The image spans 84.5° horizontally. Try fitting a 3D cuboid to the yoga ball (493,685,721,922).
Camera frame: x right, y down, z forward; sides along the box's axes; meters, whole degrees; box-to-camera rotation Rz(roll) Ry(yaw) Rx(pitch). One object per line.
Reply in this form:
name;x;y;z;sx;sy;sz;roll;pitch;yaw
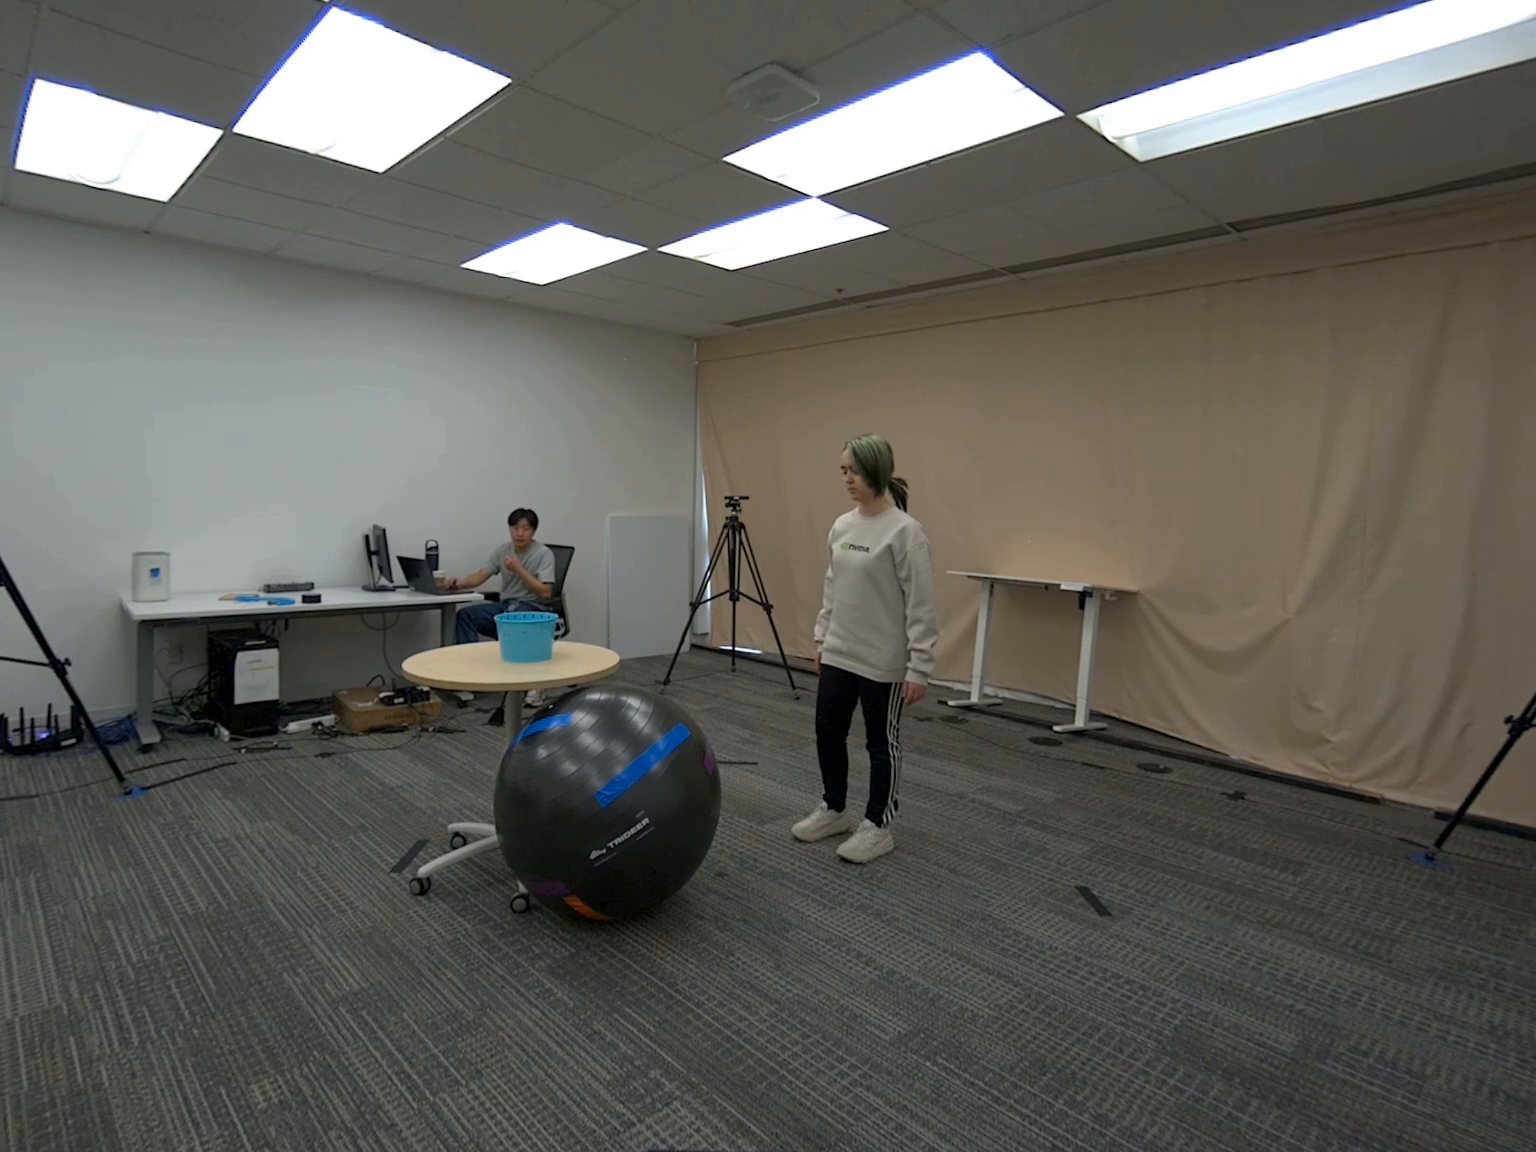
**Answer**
yoga ball;-0.549;0.756;2.824;0.757;0.756;0.761;1;4;-1
